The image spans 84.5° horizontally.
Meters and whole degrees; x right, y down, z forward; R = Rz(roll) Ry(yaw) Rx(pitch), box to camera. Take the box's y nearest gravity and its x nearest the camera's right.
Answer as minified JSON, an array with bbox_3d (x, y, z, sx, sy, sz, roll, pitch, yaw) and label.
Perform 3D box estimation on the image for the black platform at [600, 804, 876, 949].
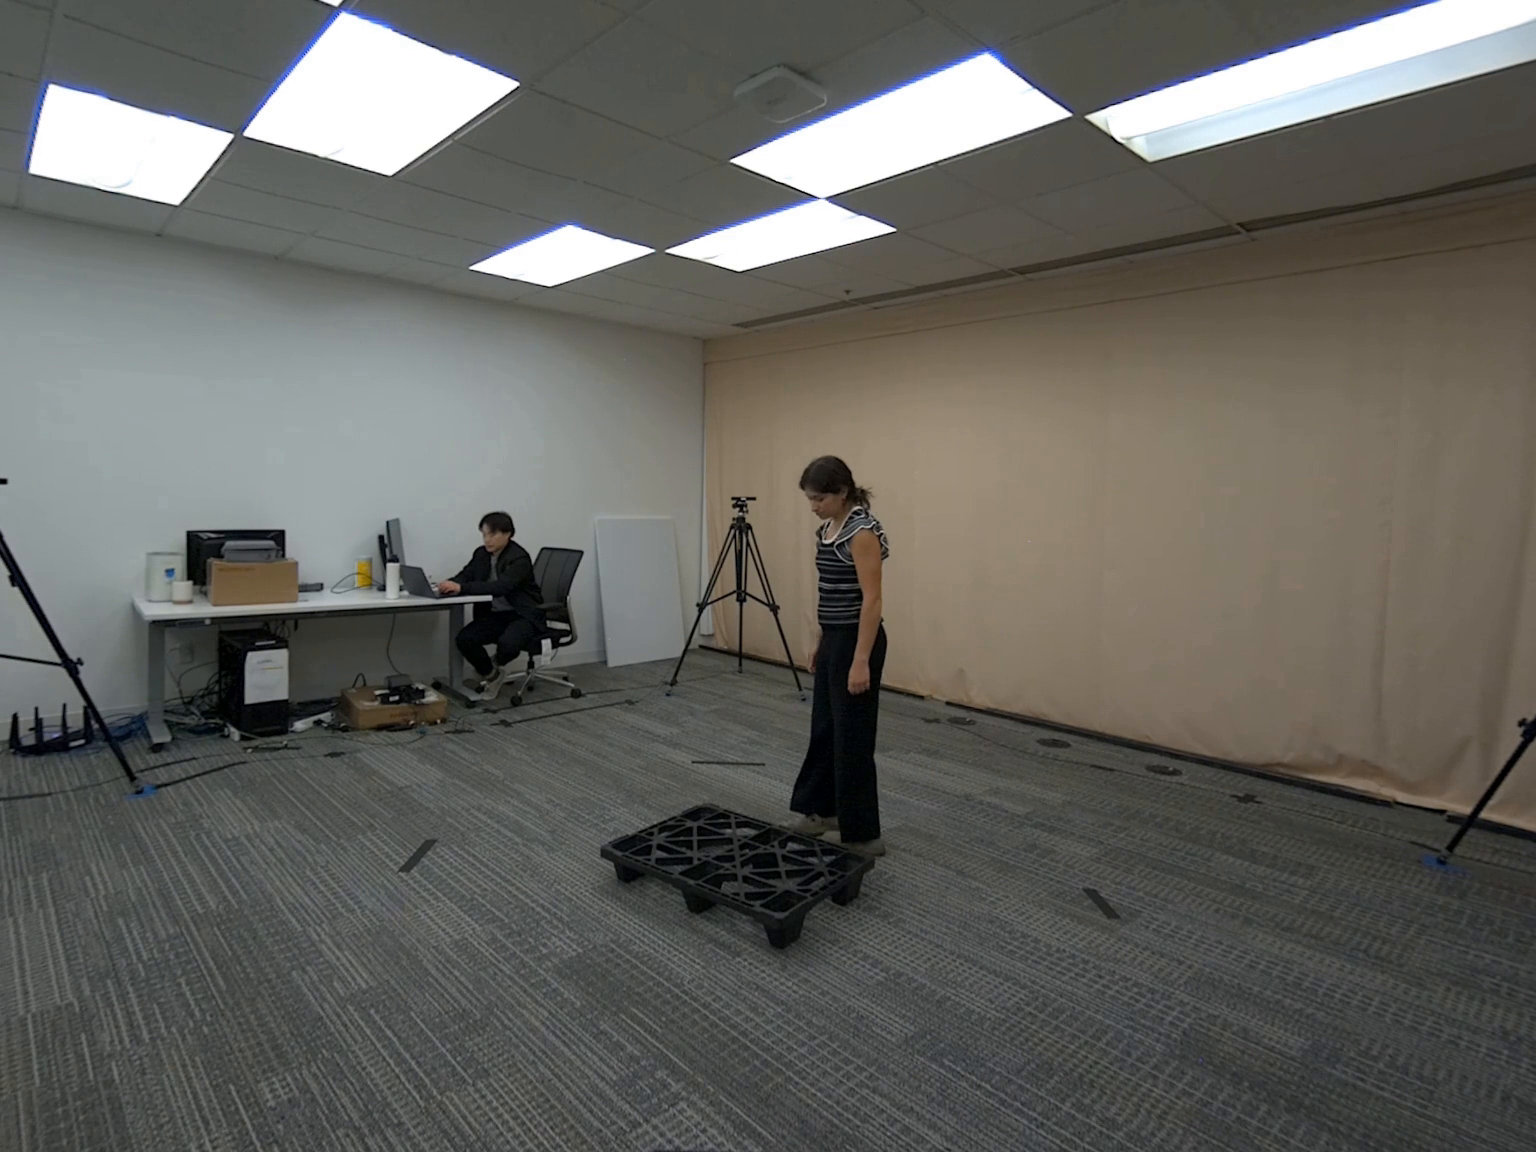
[{"bbox_3d":[-0.120,1.050,2.996,0.825,0.143,0.592,5,7,37],"label":"black platform"}]
